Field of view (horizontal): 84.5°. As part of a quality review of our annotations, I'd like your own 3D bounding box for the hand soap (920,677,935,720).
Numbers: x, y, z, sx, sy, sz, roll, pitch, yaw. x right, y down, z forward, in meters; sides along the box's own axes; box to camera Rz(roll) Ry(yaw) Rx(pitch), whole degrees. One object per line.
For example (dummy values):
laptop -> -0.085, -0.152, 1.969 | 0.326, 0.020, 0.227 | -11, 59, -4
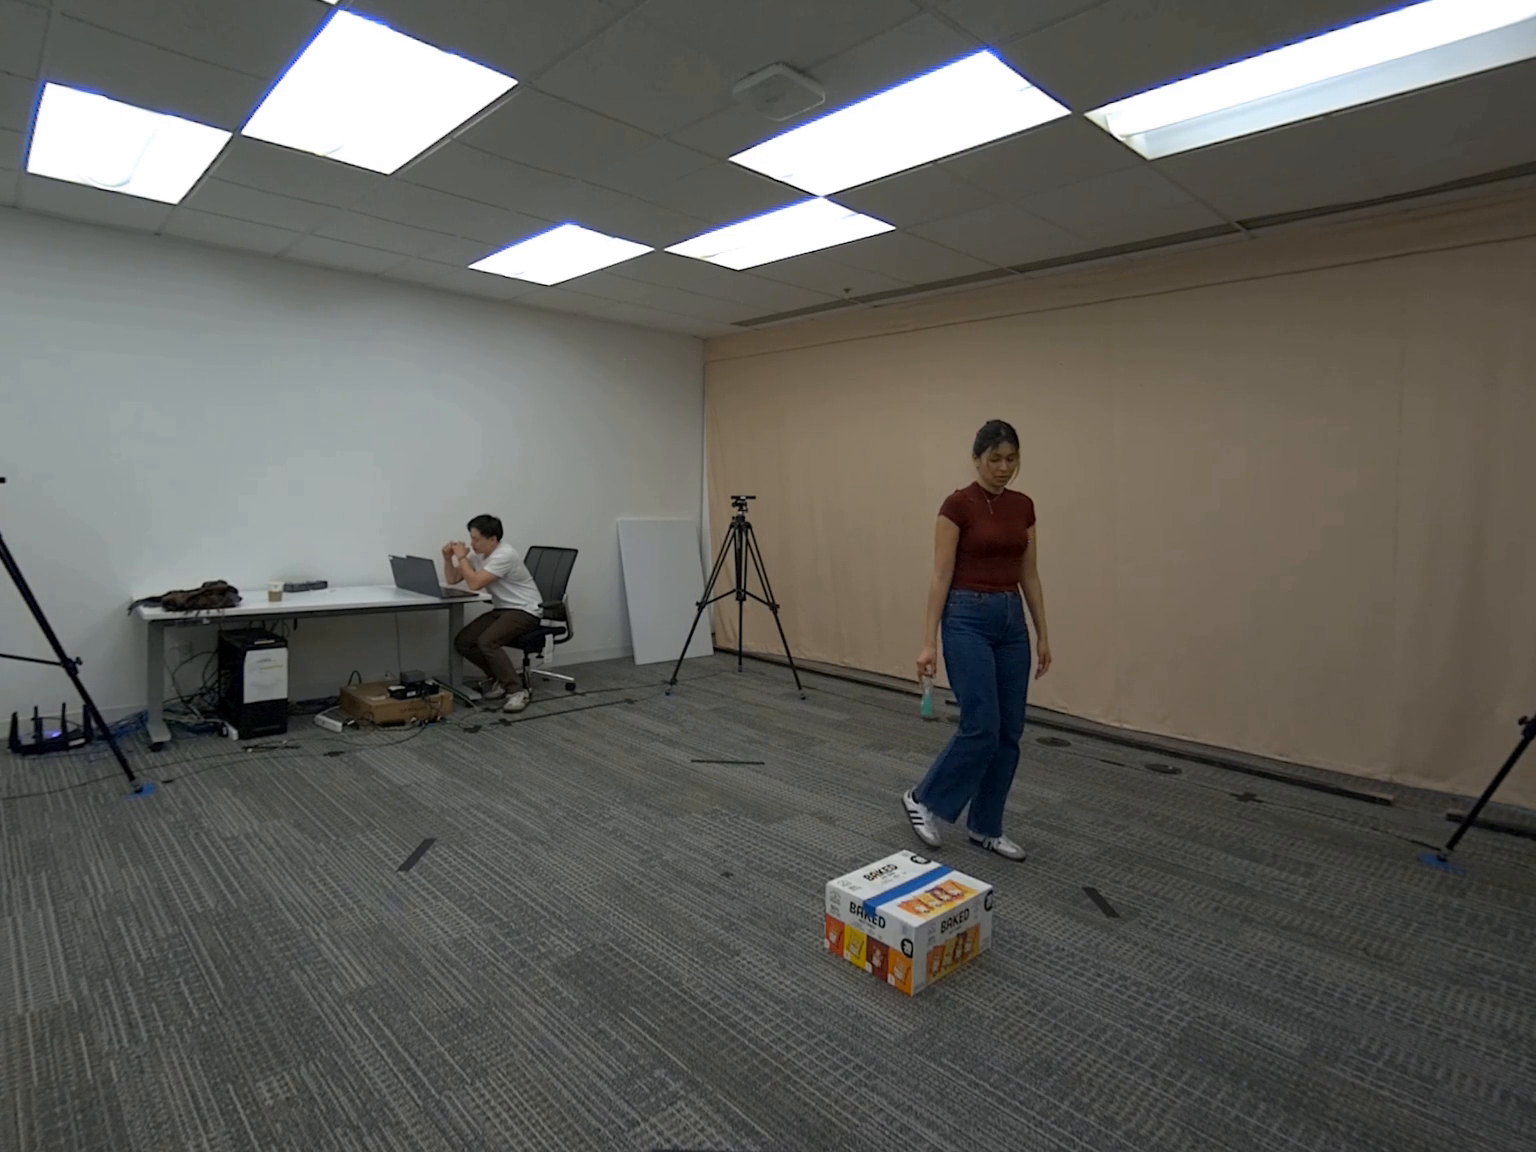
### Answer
hand soap -> 0.606, 0.451, 3.258 | 0.044, 0.168, 0.084 | 5, 3, 7
